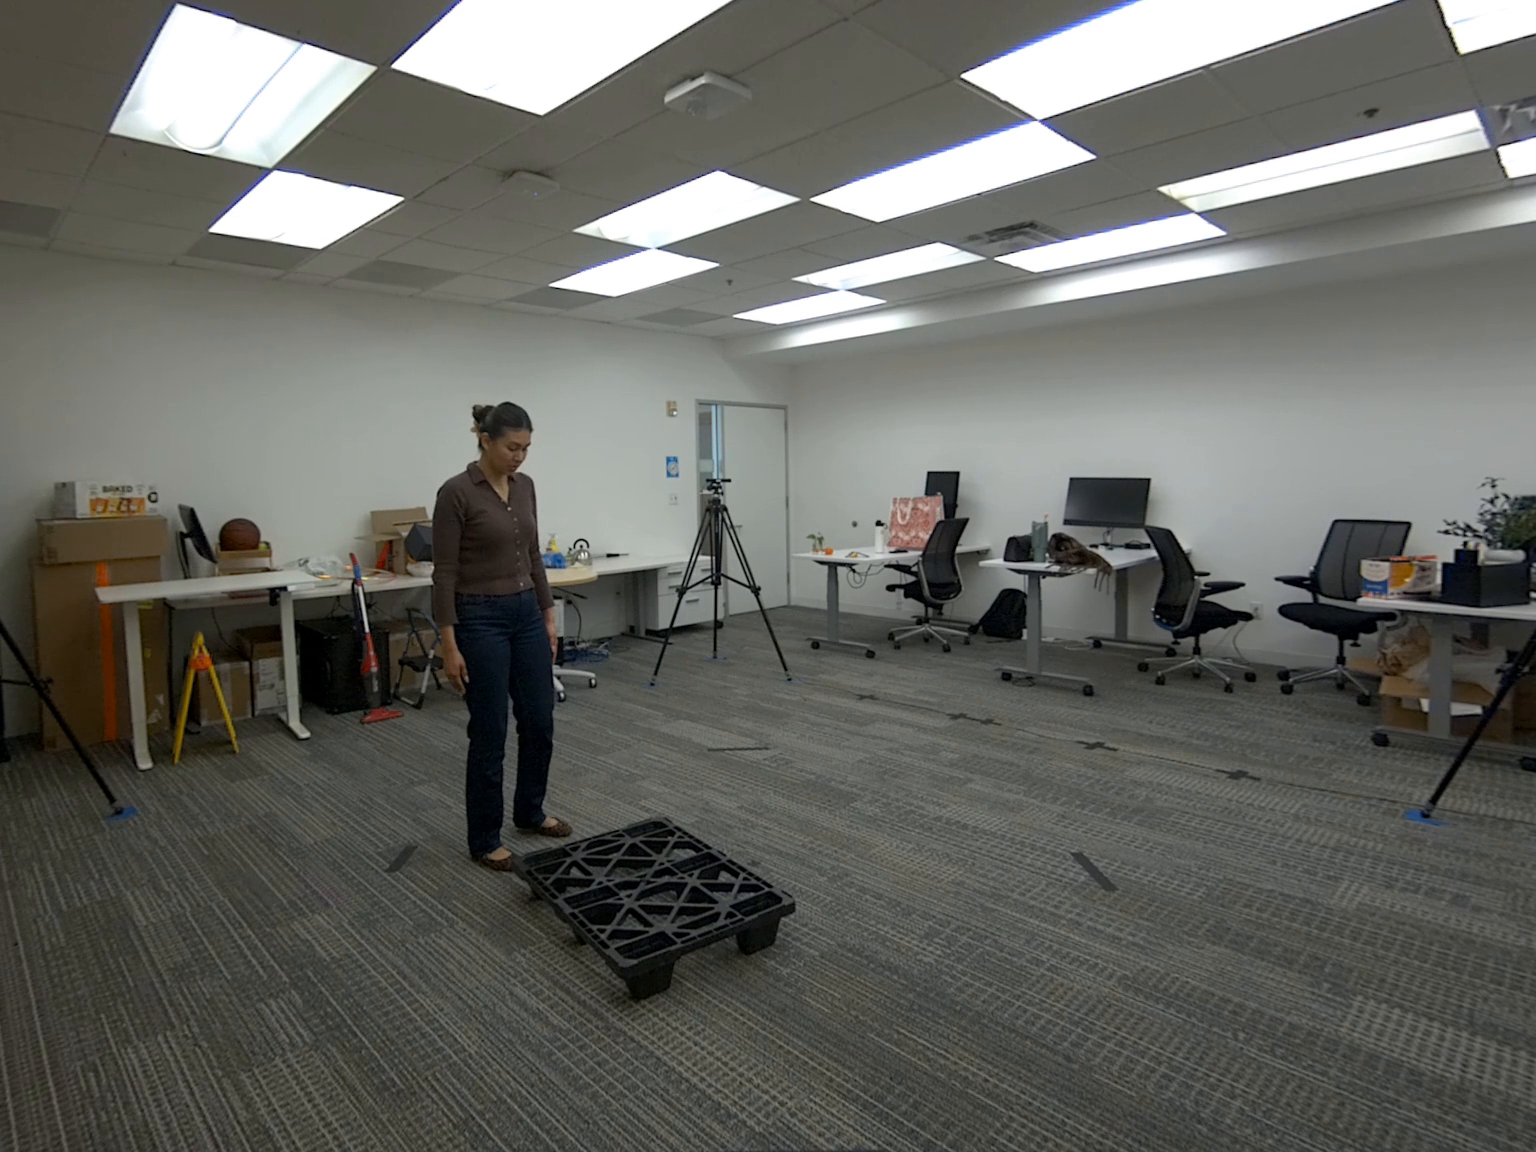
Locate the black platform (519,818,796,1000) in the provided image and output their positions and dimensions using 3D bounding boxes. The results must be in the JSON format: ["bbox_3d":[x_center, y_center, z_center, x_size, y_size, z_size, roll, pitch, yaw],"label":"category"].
[{"bbox_3d":[-0.385,1.029,2.732,0.590,0.142,0.830,-5,8,-36],"label":"black platform"}]
